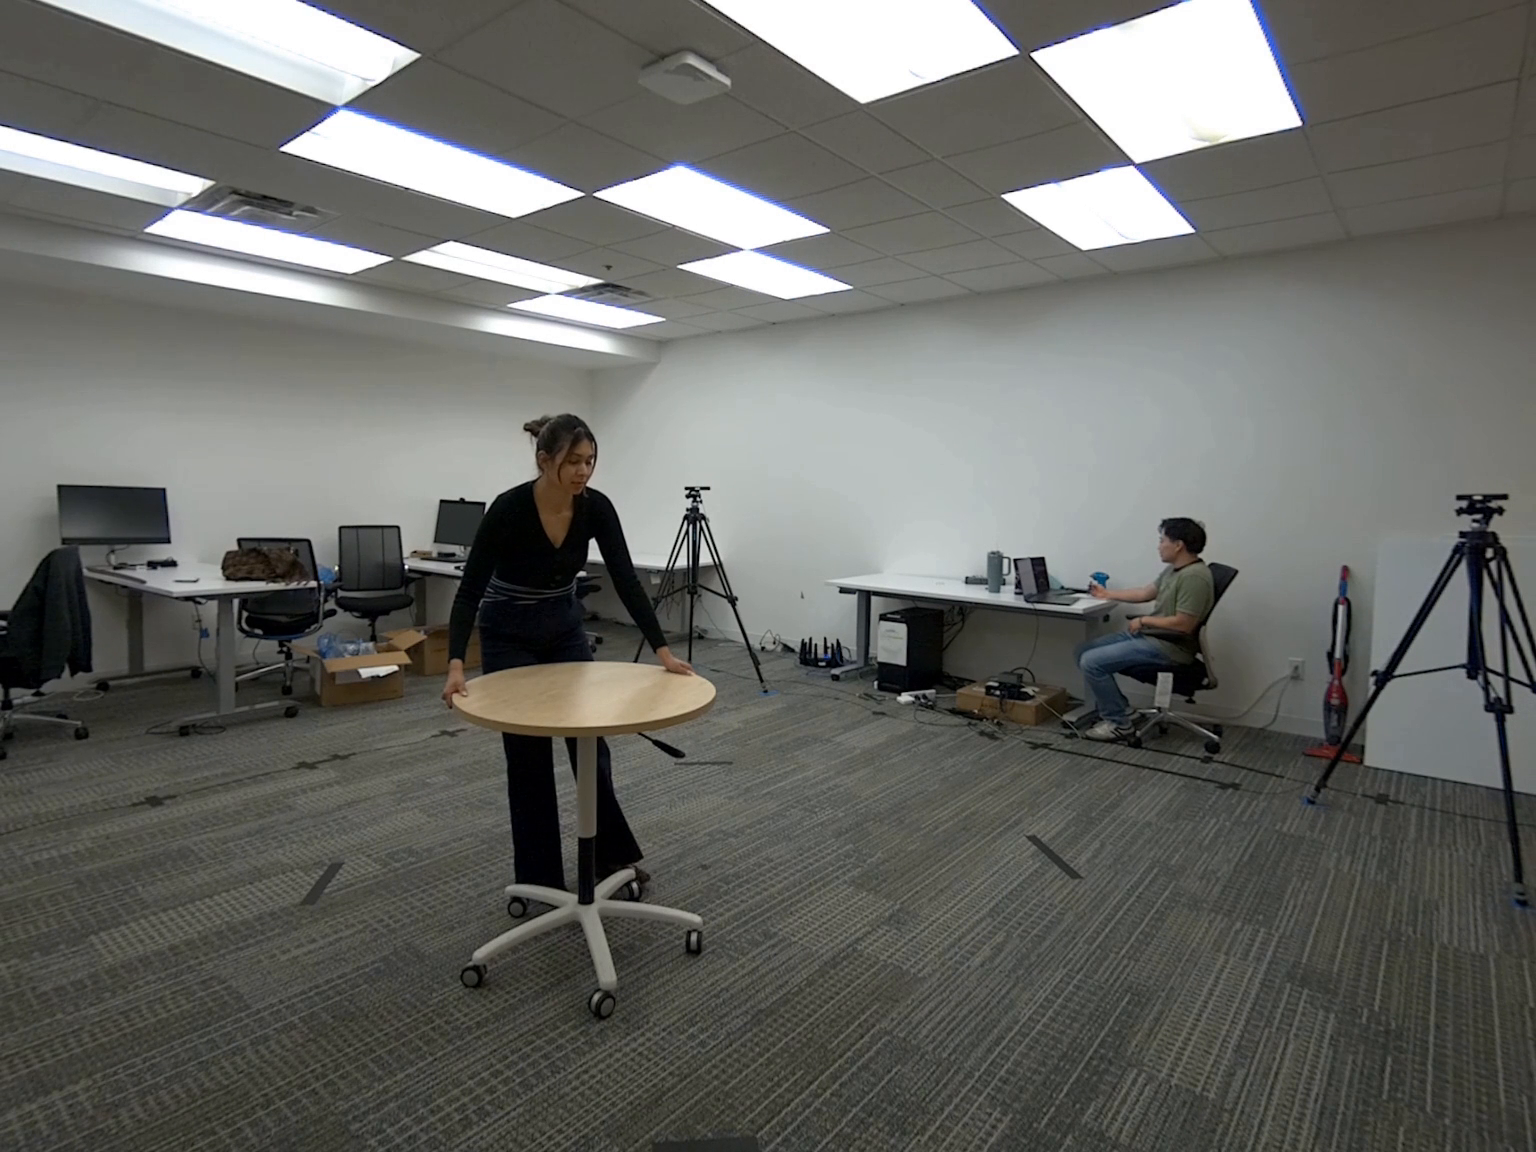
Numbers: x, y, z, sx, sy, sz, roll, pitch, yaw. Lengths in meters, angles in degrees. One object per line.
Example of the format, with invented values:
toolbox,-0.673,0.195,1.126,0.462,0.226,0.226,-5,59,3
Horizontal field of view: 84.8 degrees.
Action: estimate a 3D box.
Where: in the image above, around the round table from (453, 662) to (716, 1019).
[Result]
round table,-0.550,0.728,2.542,0.763,0.791,0.768,1,4,-2
